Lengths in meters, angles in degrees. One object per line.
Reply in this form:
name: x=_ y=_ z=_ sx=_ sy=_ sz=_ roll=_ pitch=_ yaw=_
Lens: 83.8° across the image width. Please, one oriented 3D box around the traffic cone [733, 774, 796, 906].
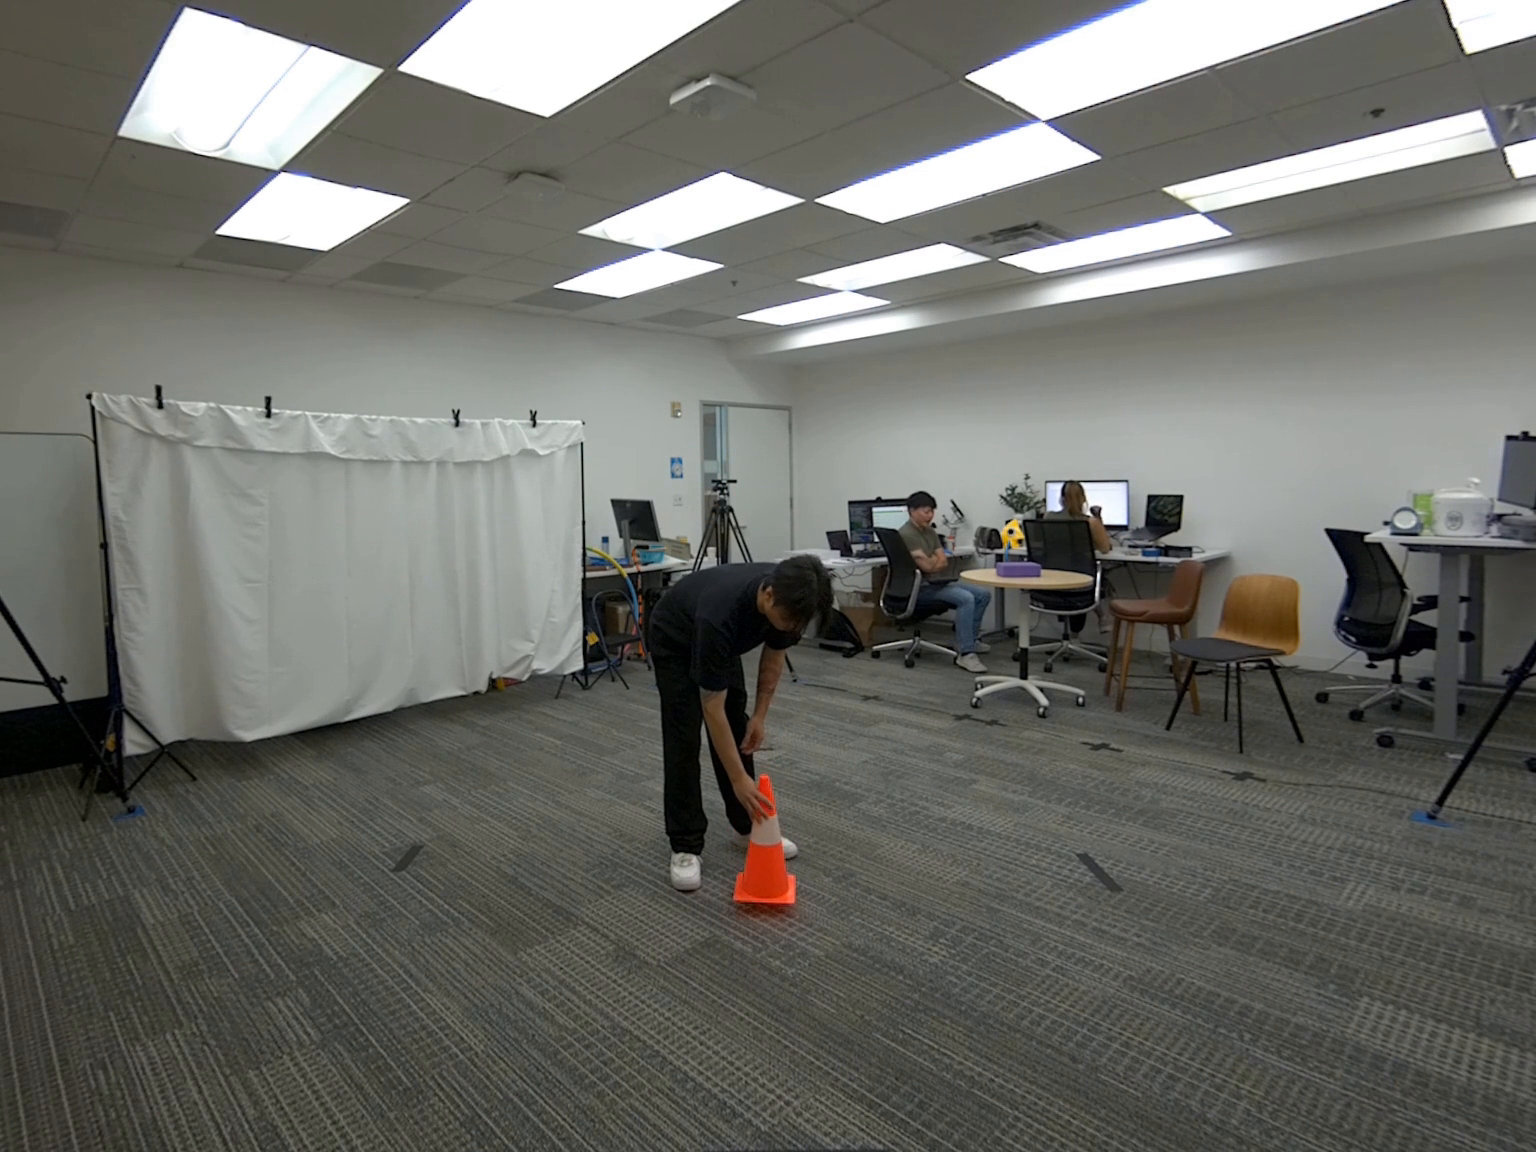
traffic cone: x=-0.002 y=0.847 z=2.811 sx=0.206 sy=0.382 sz=0.203 roll=0 pitch=4 yaw=3
